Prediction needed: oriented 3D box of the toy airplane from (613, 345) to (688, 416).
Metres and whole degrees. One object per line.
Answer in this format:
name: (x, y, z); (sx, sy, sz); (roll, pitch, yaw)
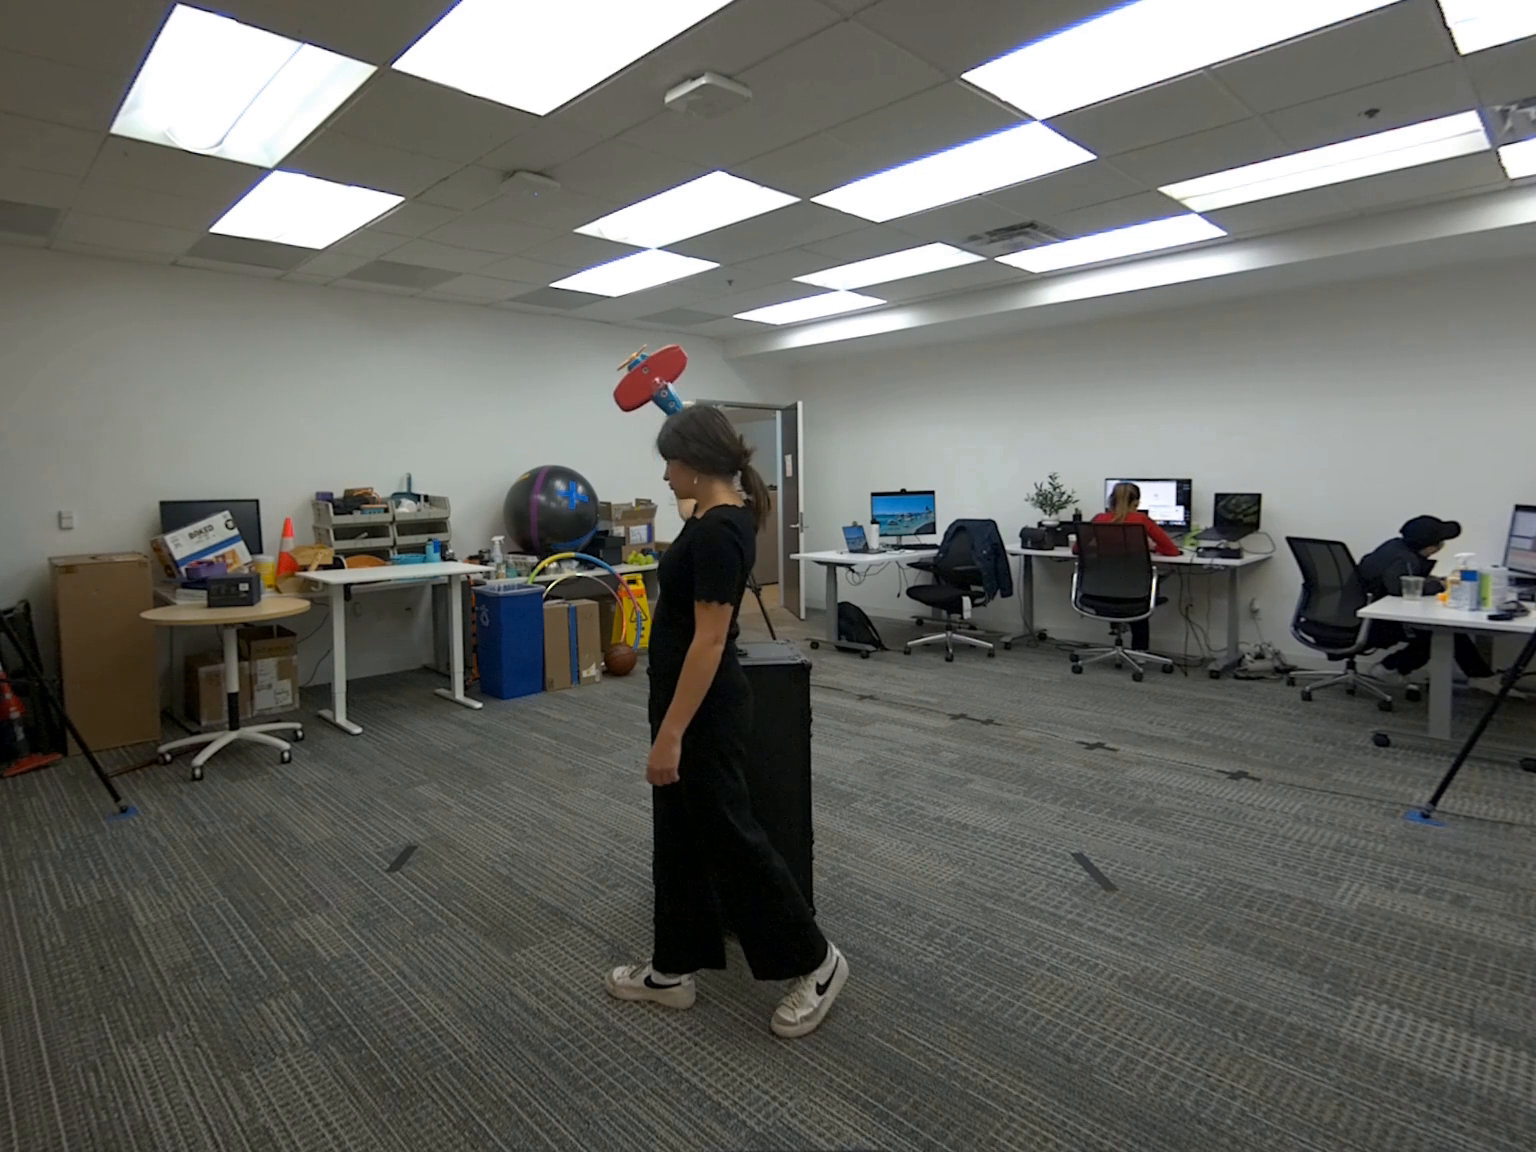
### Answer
toy airplane: (-0.324, -0.590, 2.647); (0.262, 0.251, 0.154); (23, -5, 8)
